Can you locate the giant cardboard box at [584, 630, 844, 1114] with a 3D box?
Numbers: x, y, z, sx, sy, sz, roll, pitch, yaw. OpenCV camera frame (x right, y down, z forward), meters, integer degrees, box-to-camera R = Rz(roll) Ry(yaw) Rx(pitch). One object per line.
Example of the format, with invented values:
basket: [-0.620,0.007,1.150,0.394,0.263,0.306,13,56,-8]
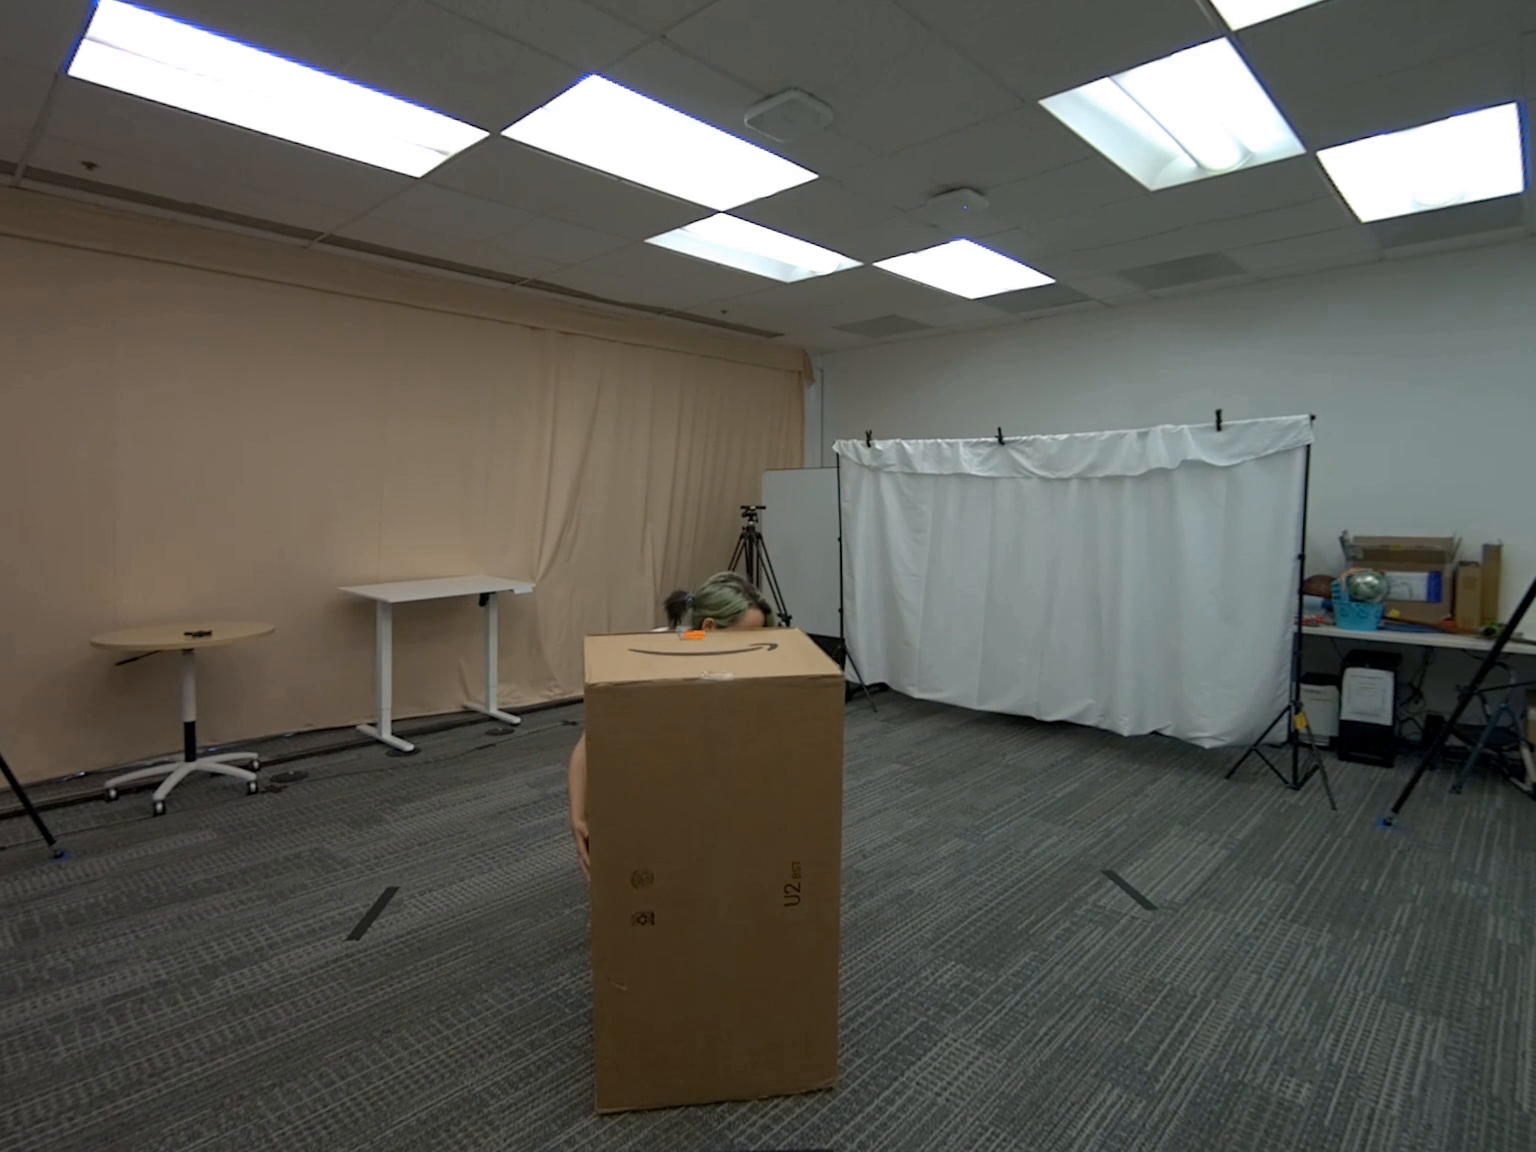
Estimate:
giant cardboard box: [-0.155,0.688,2.090,0.578,1.021,0.454,-1,9,-10]
